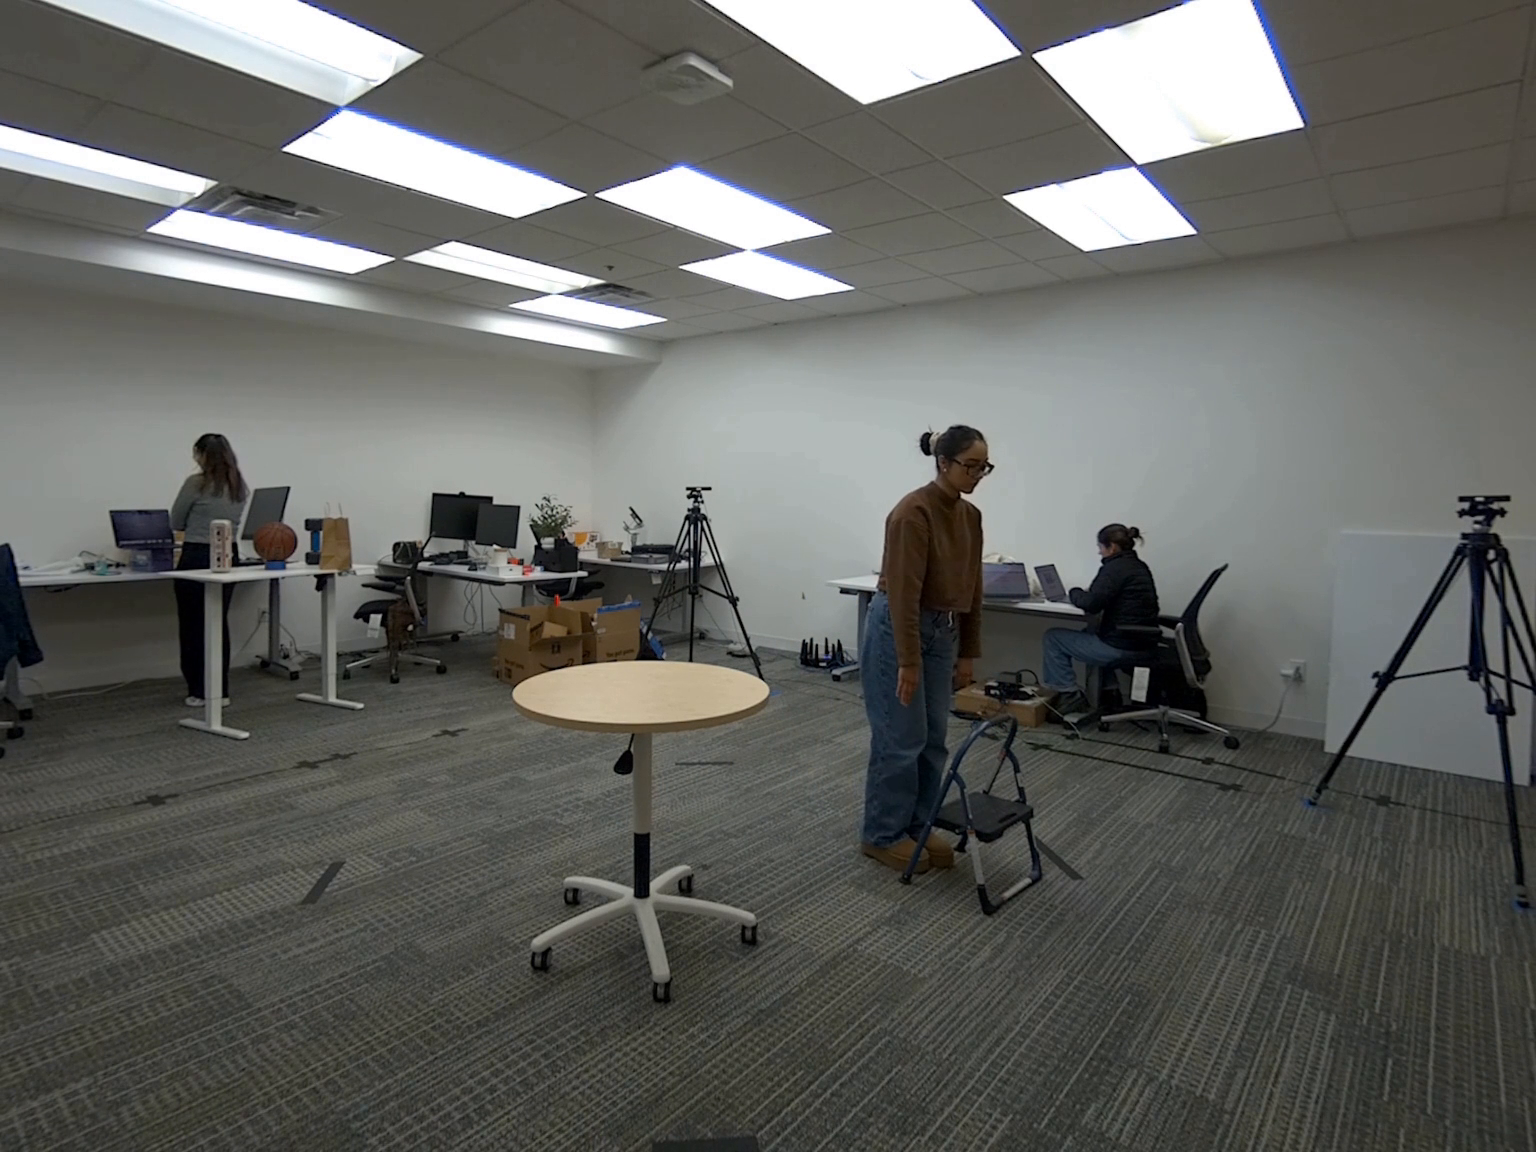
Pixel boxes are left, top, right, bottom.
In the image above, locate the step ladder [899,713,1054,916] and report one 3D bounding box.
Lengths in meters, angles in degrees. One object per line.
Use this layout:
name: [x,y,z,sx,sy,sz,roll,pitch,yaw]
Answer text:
step ladder: [0.737,0.796,3.048,0.361,0.604,0.417,4,4,42]
